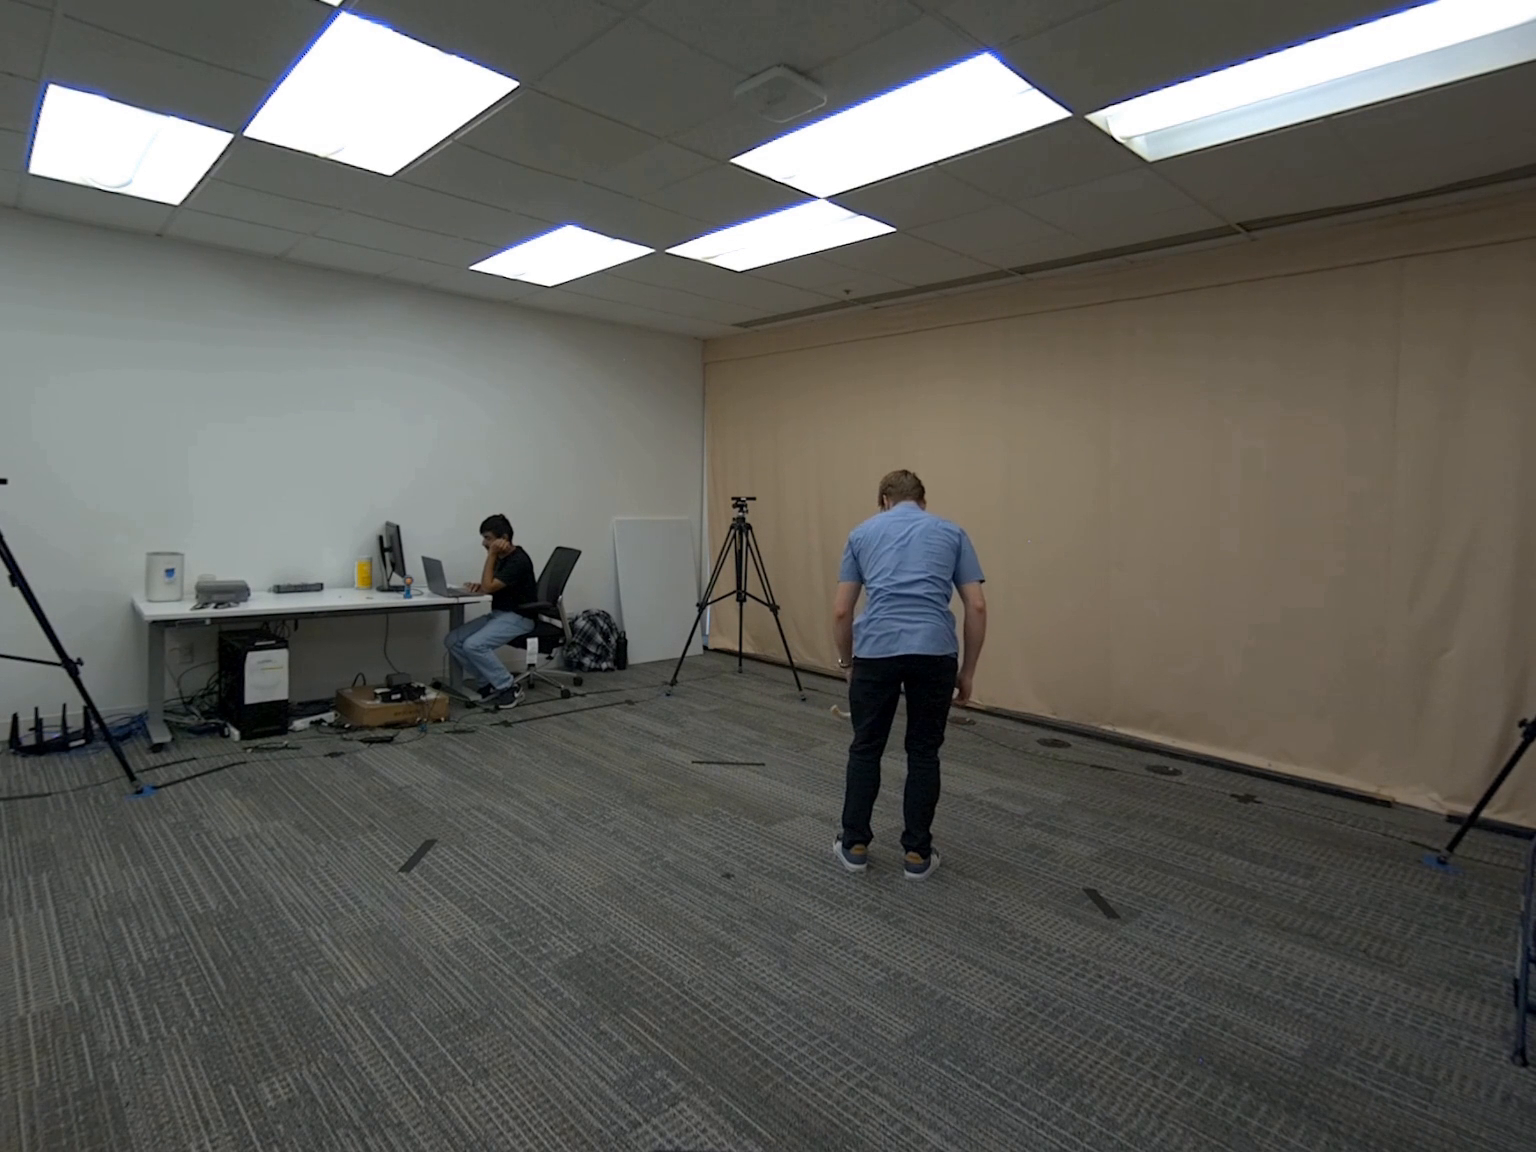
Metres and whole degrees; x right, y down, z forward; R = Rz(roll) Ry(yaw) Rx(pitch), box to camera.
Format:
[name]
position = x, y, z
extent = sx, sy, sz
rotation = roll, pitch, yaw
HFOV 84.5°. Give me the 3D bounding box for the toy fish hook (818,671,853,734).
[toy fish hook]
position = 0.356, 0.524, 3.574
extent = 0.225, 0.049, 0.493
rotation = -12, -34, 4
